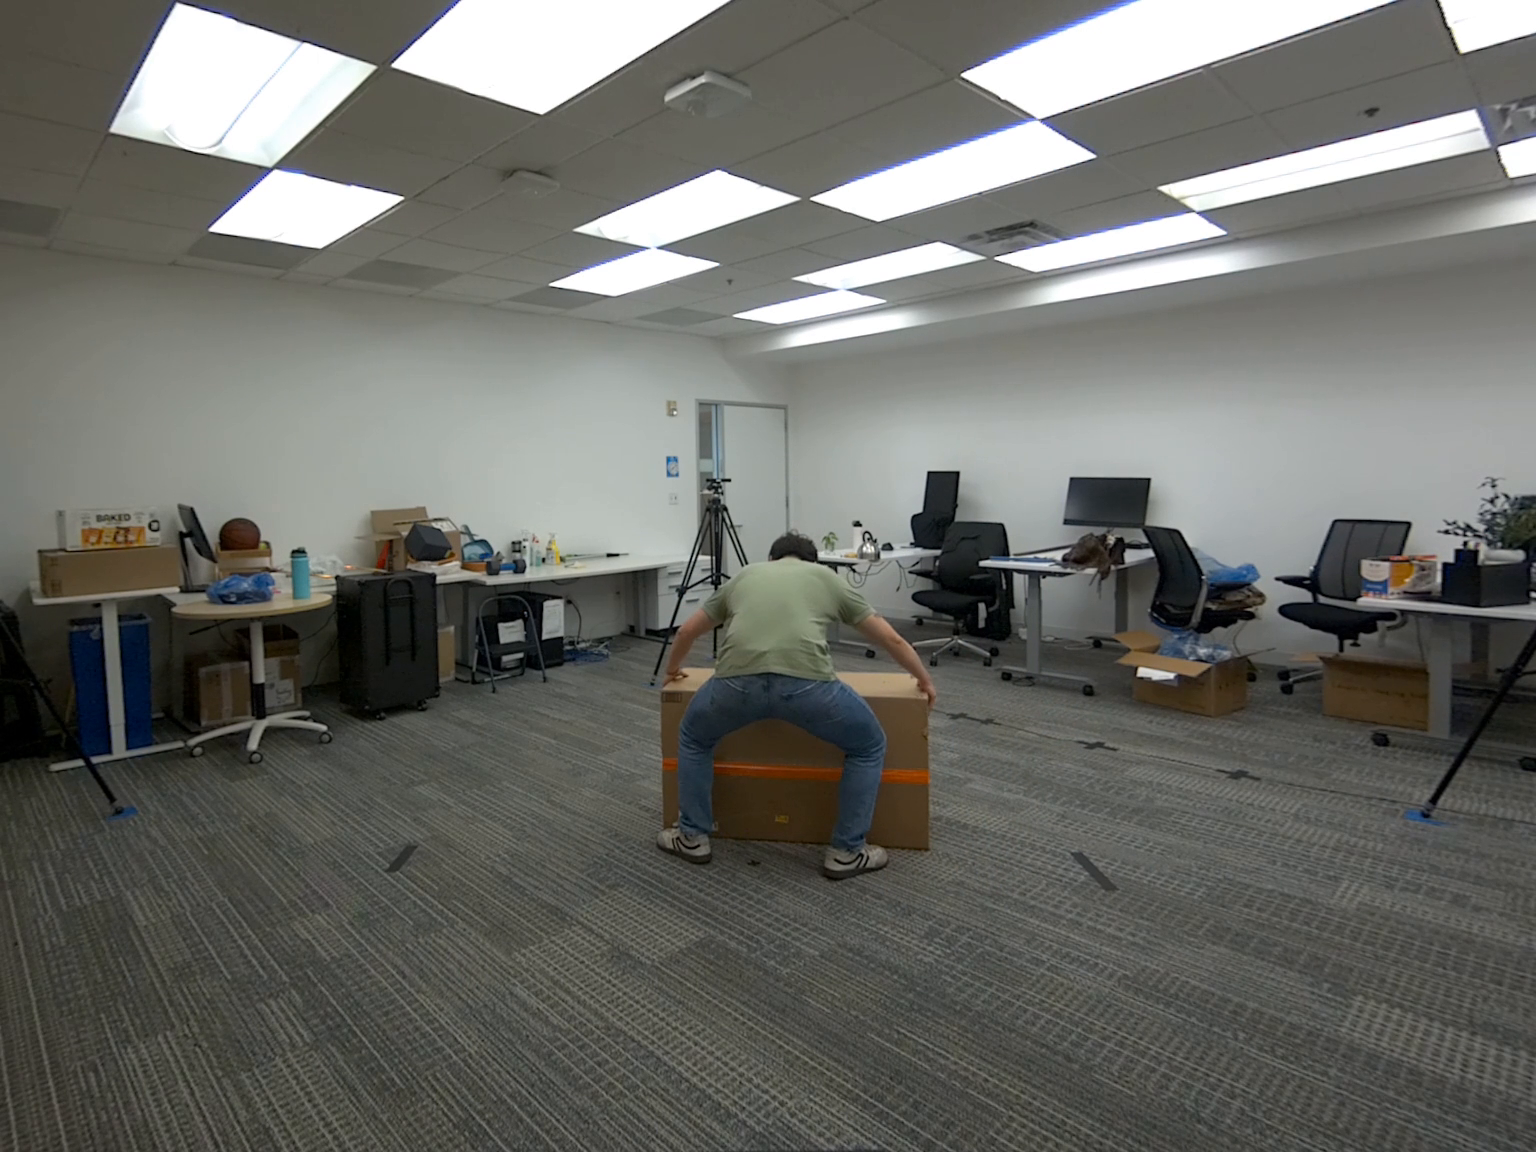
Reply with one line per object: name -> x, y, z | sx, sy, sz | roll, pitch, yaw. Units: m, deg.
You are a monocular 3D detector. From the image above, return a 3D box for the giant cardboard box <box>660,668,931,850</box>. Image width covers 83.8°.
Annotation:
giant cardboard box -> 0.118, 0.707, 3.469 | 1.036, 0.575, 0.424 | 0, 4, 10
